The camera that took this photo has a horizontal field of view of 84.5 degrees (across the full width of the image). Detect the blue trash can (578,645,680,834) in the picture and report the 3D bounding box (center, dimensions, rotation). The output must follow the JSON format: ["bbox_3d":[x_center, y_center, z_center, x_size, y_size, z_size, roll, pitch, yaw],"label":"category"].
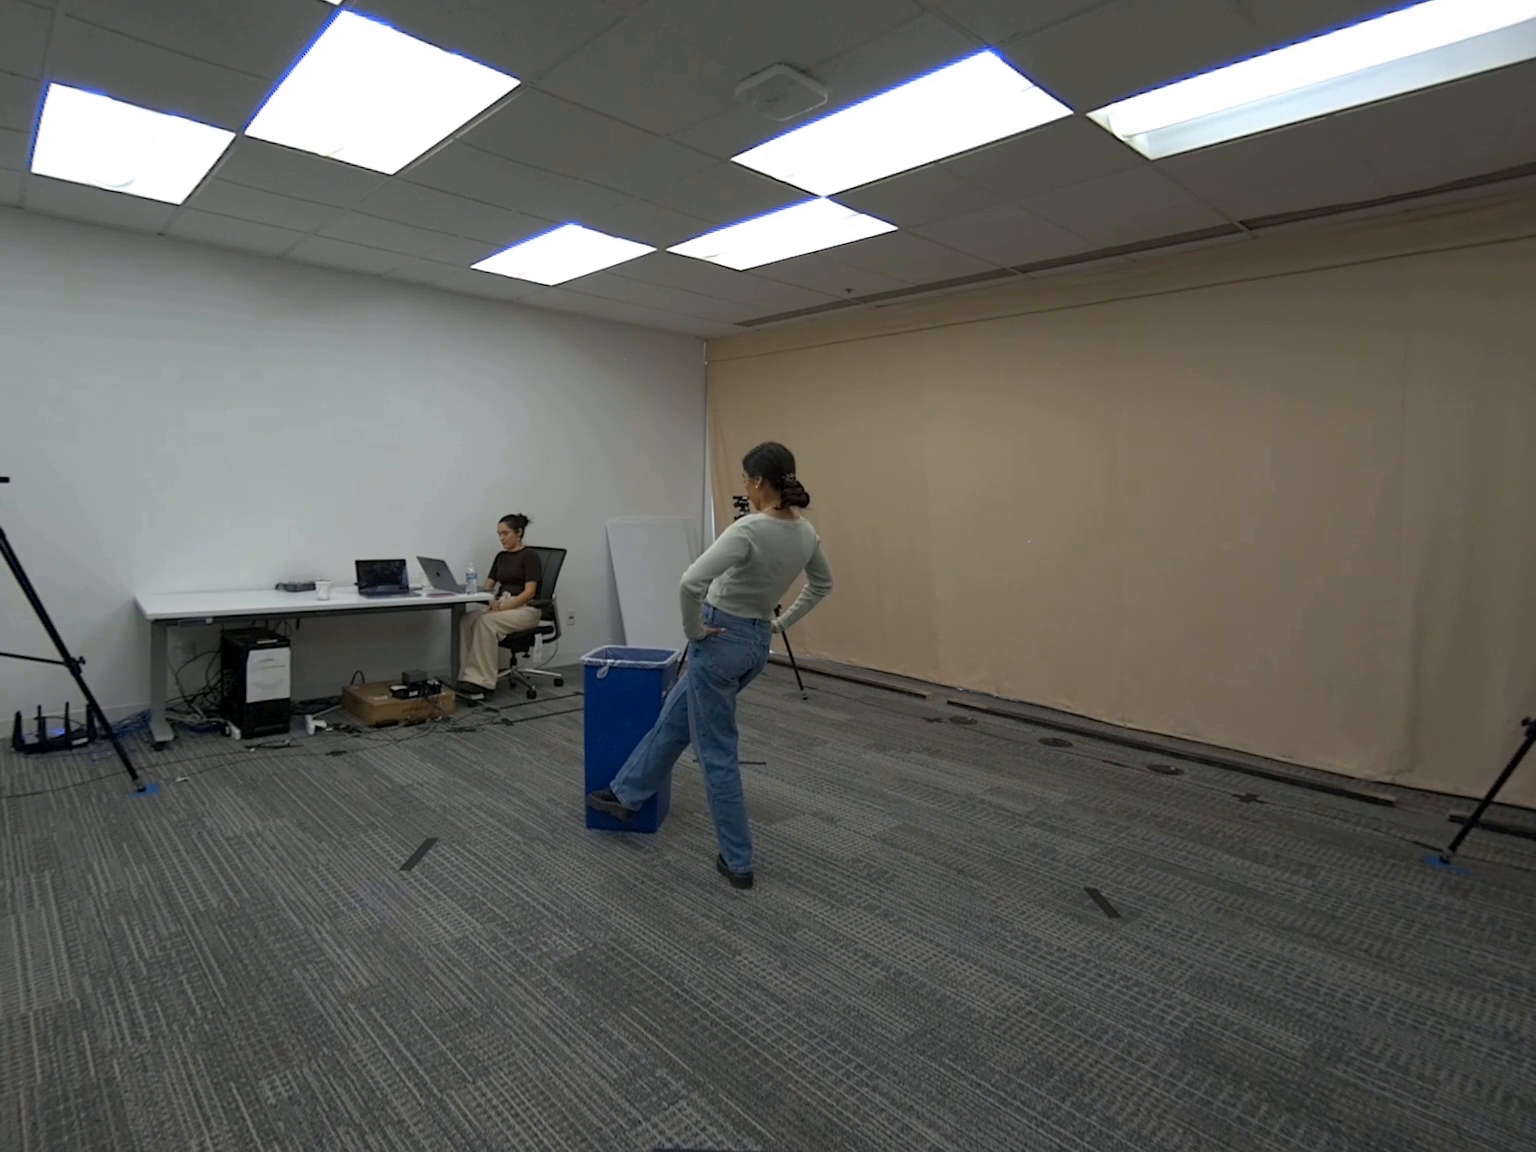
[{"bbox_3d":[-0.594,0.688,3.623,0.376,0.712,0.376,2,2,6],"label":"blue trash can"}]
